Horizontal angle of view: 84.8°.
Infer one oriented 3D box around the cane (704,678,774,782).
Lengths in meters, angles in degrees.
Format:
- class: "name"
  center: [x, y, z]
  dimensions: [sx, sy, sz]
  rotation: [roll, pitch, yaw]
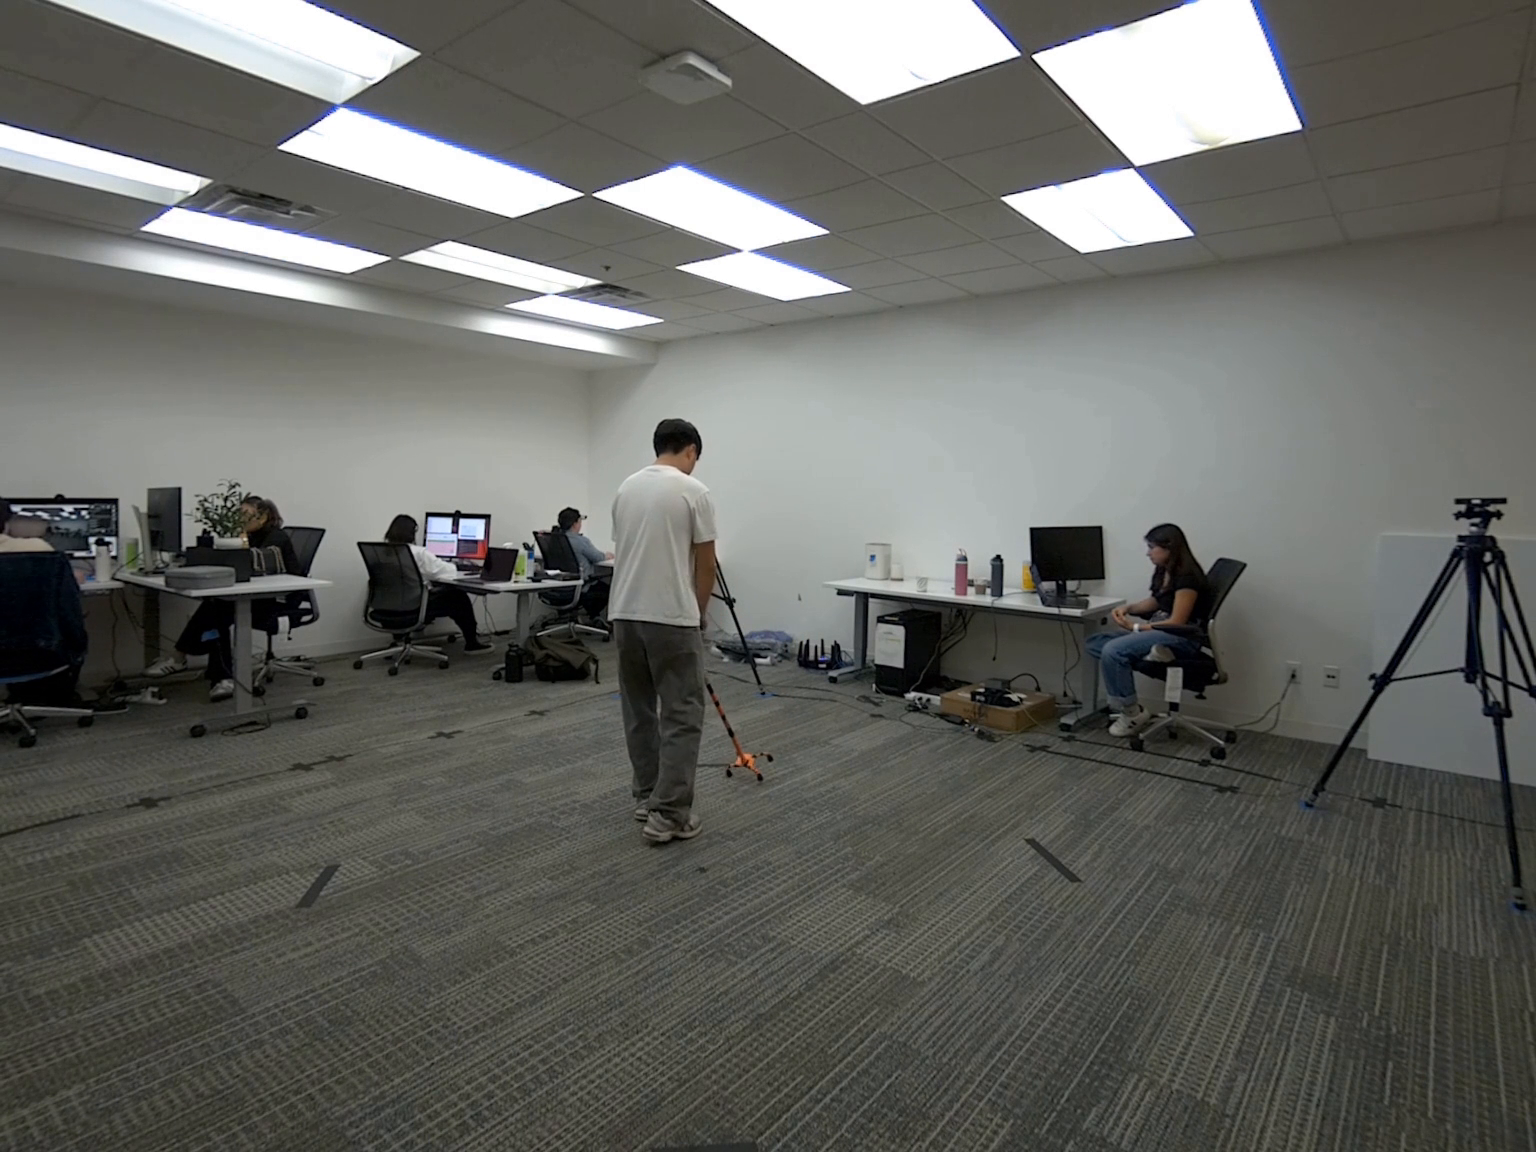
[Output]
- class: "cane"
  center: [-0.230, 0.564, 3.935]
  dimensions: [0.212, 0.881, 0.152]
  rotation: [-4, 31, 32]
